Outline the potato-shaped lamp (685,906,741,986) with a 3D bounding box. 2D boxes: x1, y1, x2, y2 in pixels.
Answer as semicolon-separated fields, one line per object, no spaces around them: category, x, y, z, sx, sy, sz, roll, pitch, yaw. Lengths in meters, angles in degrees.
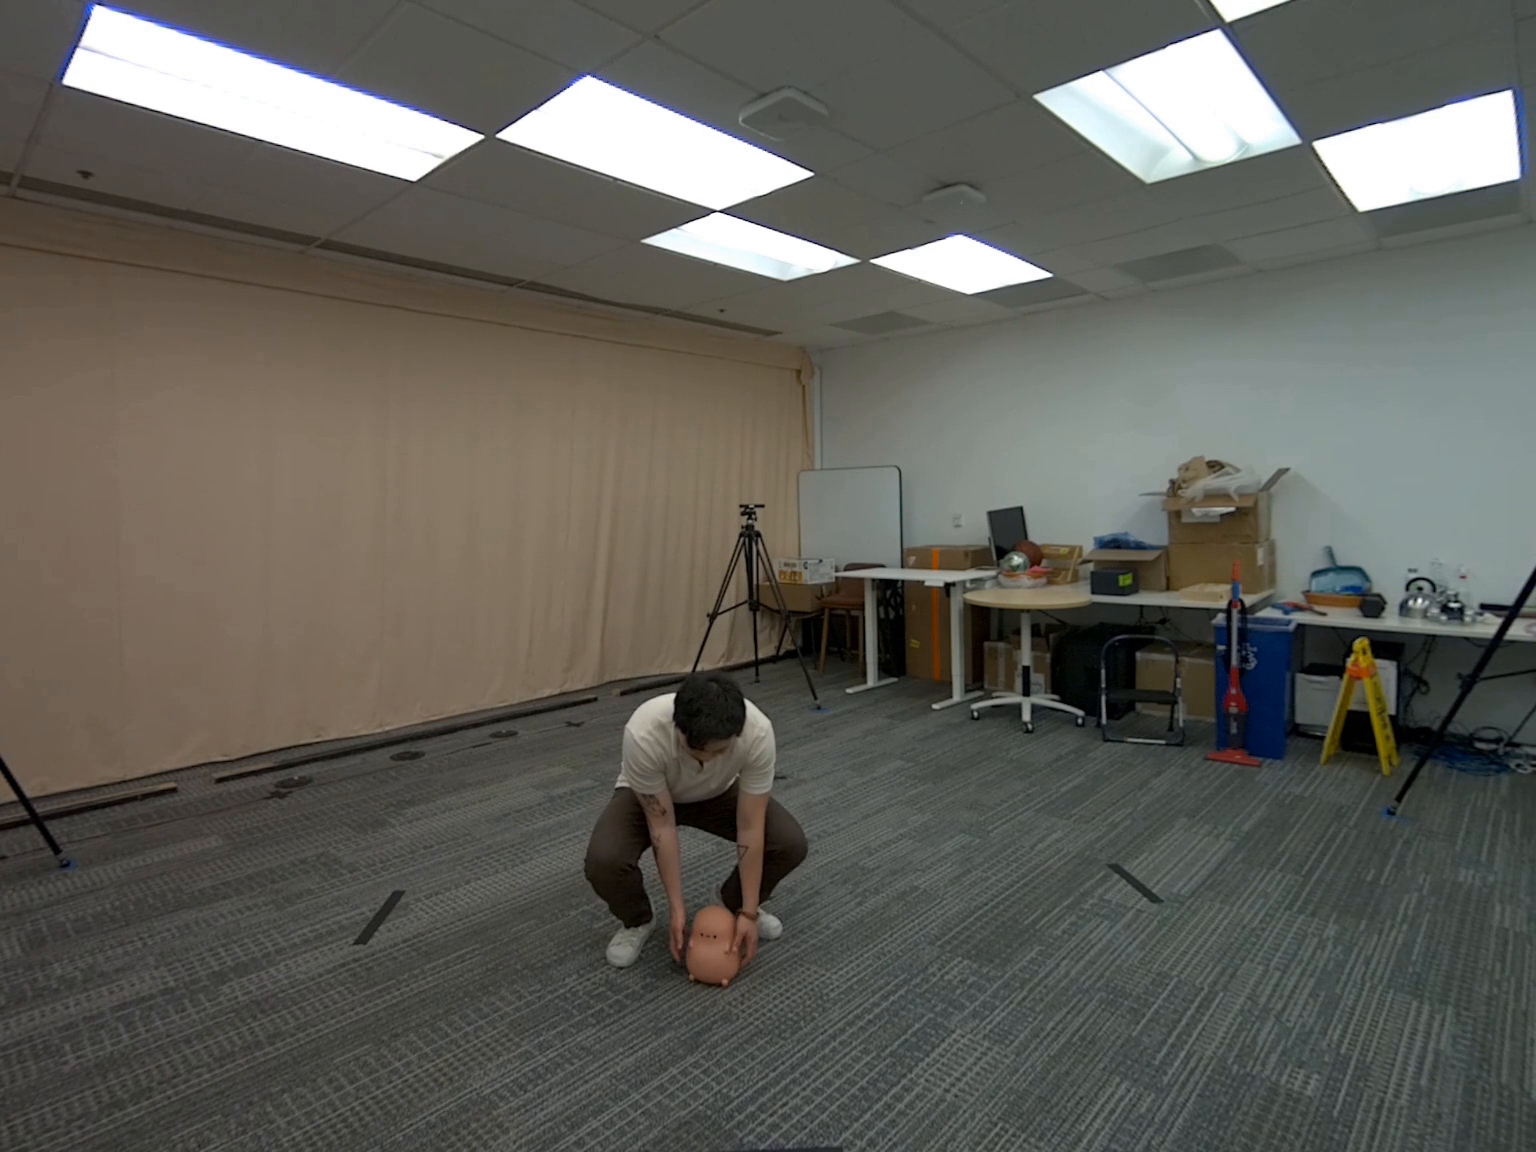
potato-shaped lamp;-0.157;1.090;2.488;0.167;0.197;0.169;3;4;13
